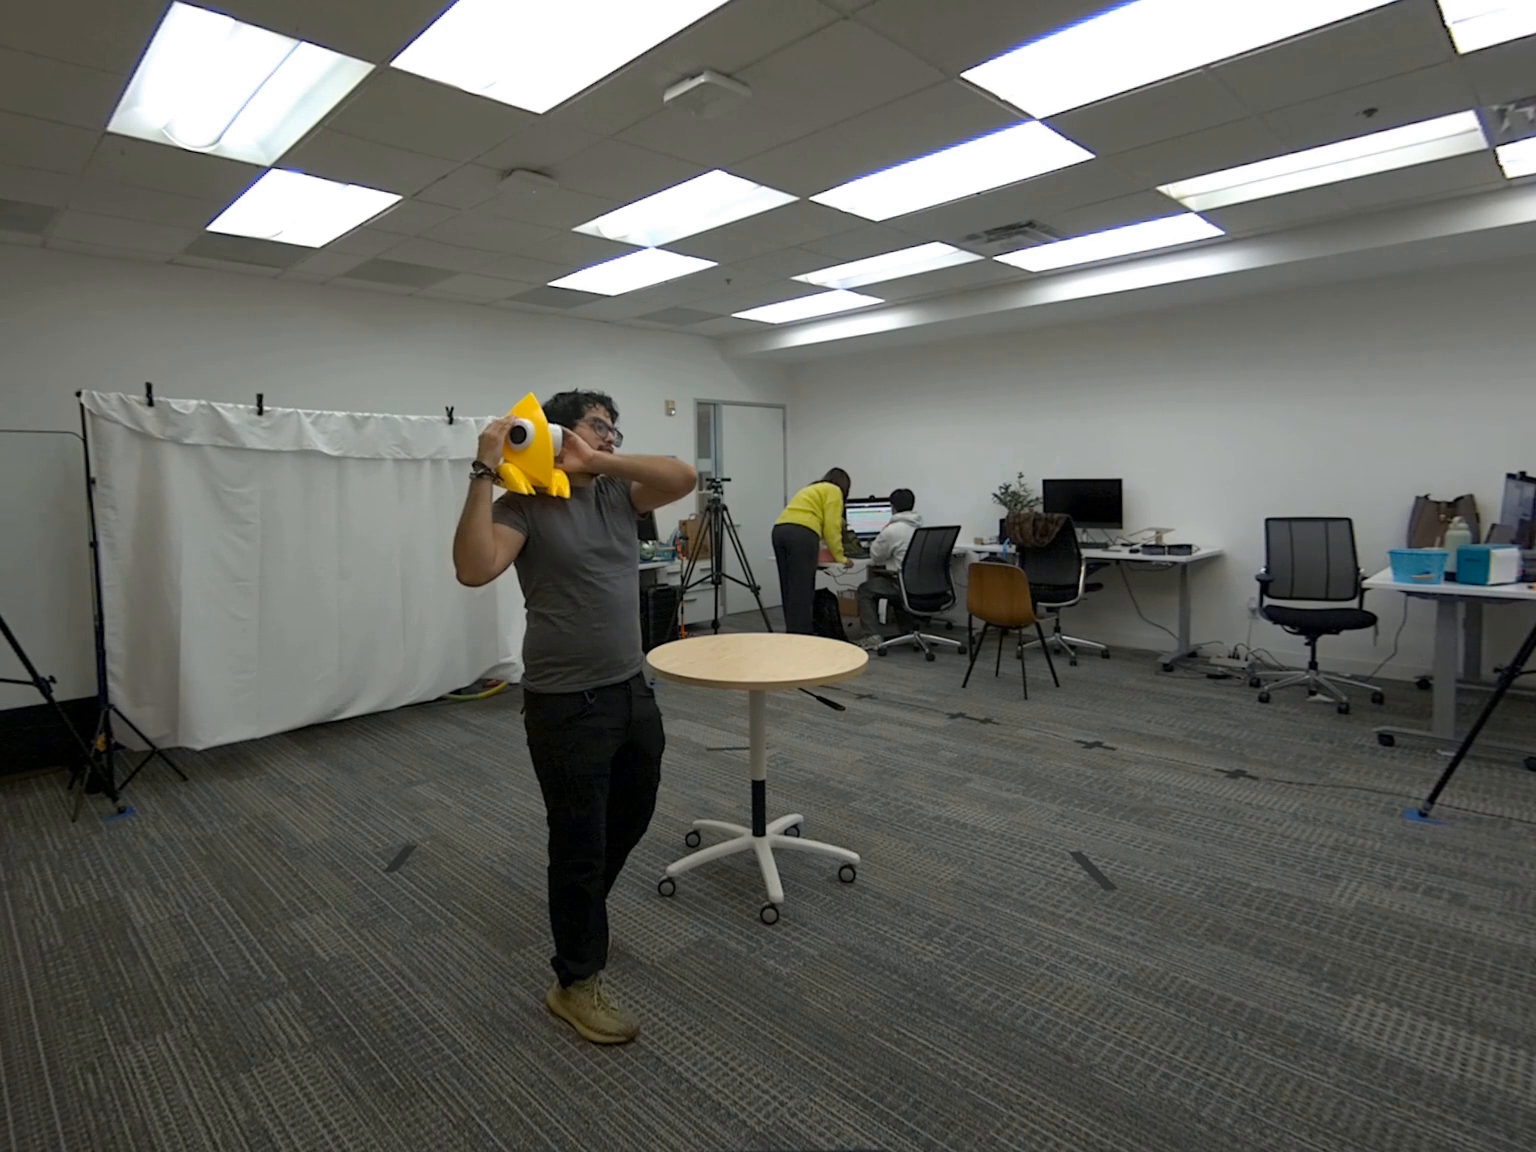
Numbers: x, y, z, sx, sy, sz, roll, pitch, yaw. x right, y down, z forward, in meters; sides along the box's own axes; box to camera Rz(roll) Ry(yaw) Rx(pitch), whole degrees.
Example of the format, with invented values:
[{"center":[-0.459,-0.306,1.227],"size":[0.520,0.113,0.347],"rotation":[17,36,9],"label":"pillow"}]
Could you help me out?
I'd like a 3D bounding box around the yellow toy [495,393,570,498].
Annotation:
[{"center":[-0.577,-0.330,2.126],"size":[0.200,0.229,0.199],"rotation":[23,13,35],"label":"yellow toy"}]
